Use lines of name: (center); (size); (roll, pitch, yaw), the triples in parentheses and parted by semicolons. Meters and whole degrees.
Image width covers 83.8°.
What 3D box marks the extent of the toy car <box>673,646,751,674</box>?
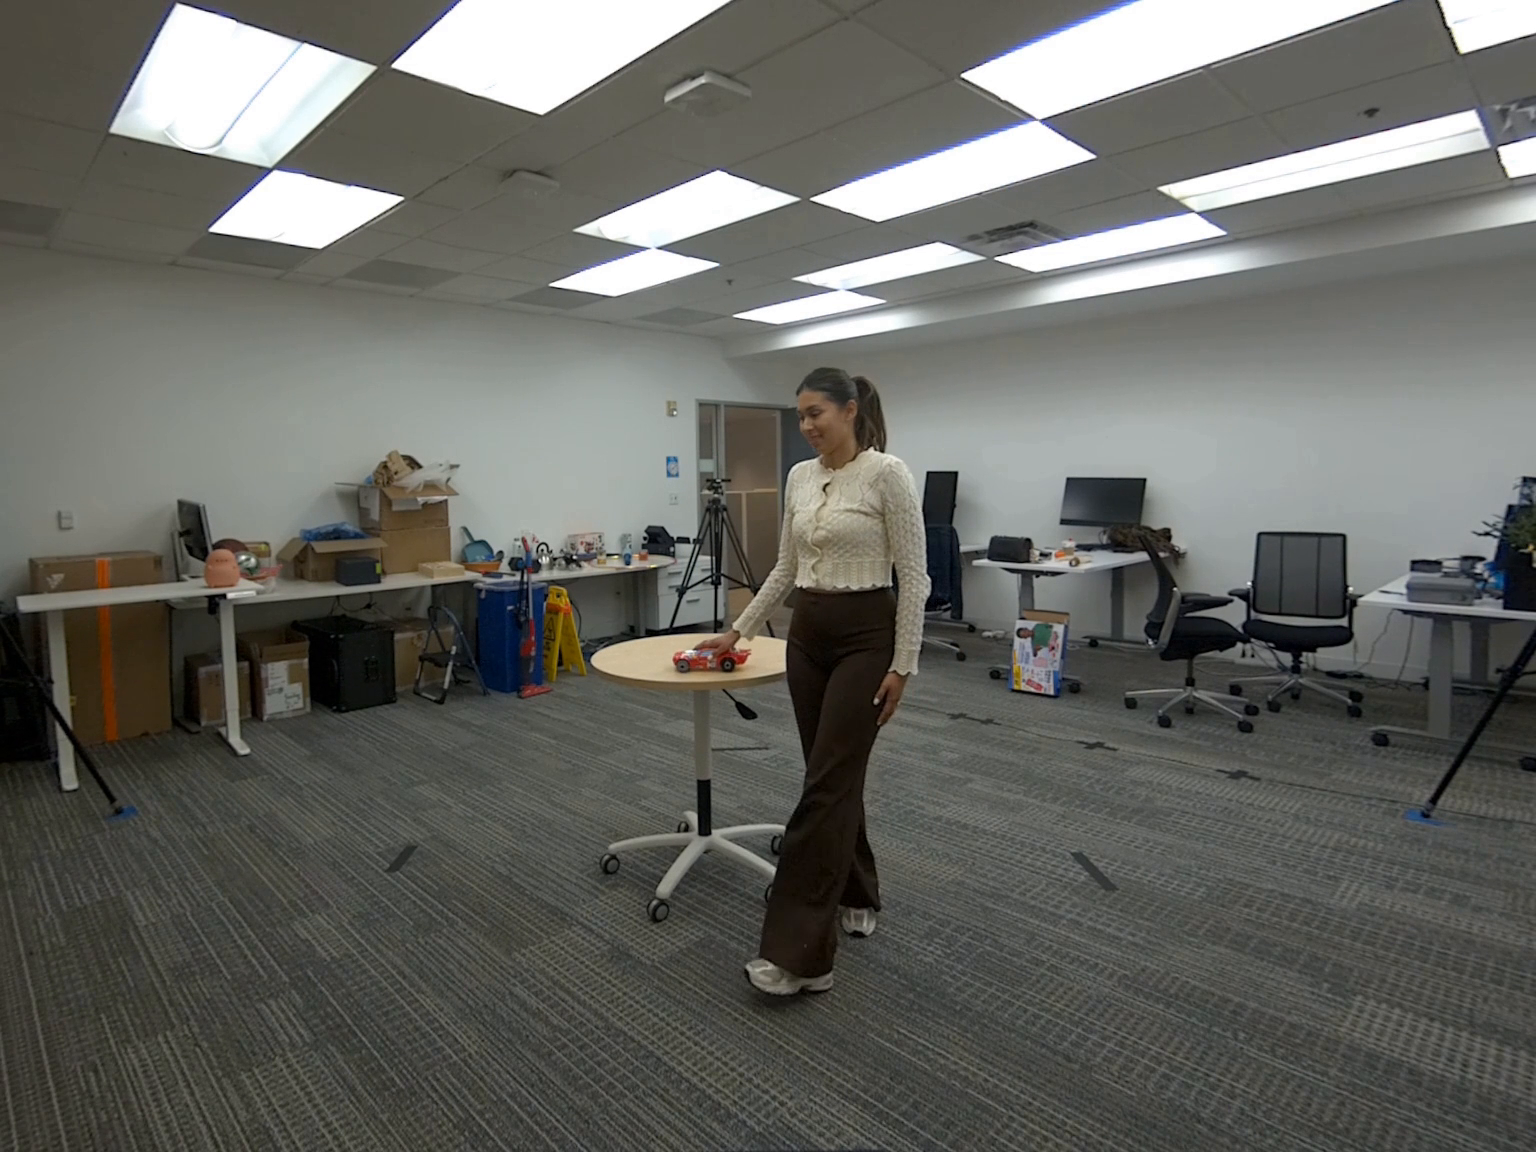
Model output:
toy car: (-0.175, 0.265, 2.770); (0.255, 0.082, 0.131); (-11, 7, 5)
